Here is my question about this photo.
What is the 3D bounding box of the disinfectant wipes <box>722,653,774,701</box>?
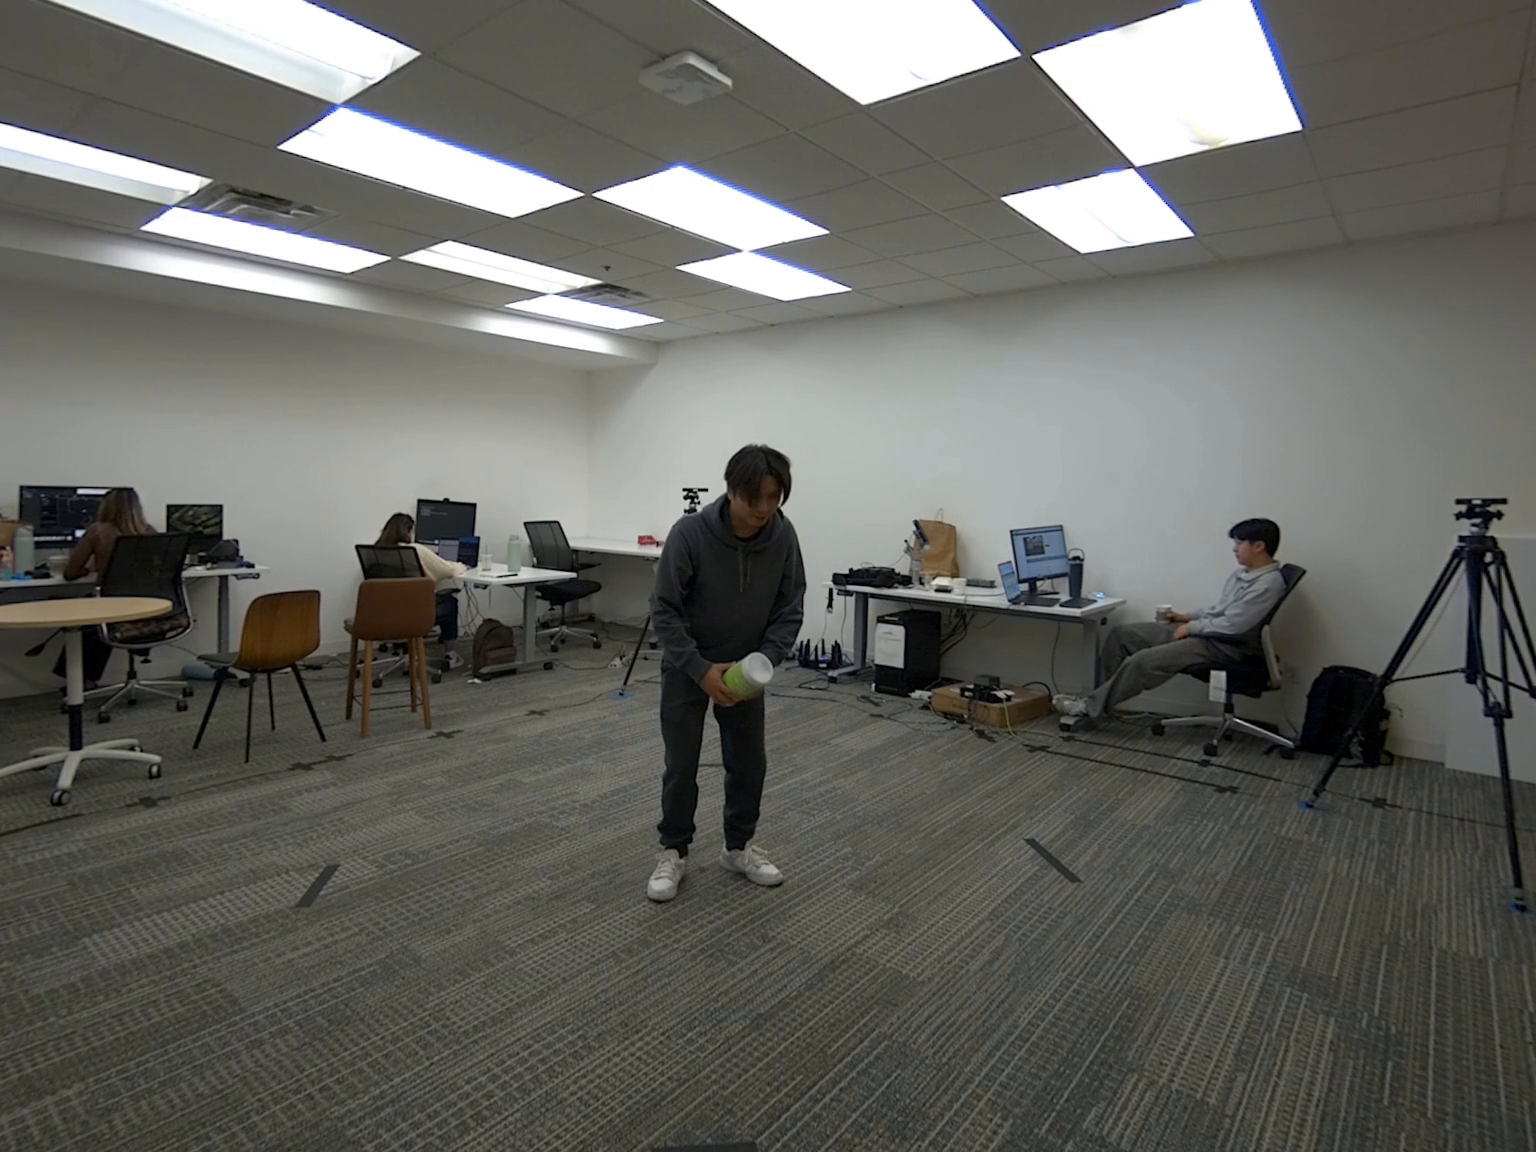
[{"bbox_3d":[-0.092,0.337,2.807,0.114,0.121,0.218,-2,-25,-35],"label":"disinfectant wipes"}]
